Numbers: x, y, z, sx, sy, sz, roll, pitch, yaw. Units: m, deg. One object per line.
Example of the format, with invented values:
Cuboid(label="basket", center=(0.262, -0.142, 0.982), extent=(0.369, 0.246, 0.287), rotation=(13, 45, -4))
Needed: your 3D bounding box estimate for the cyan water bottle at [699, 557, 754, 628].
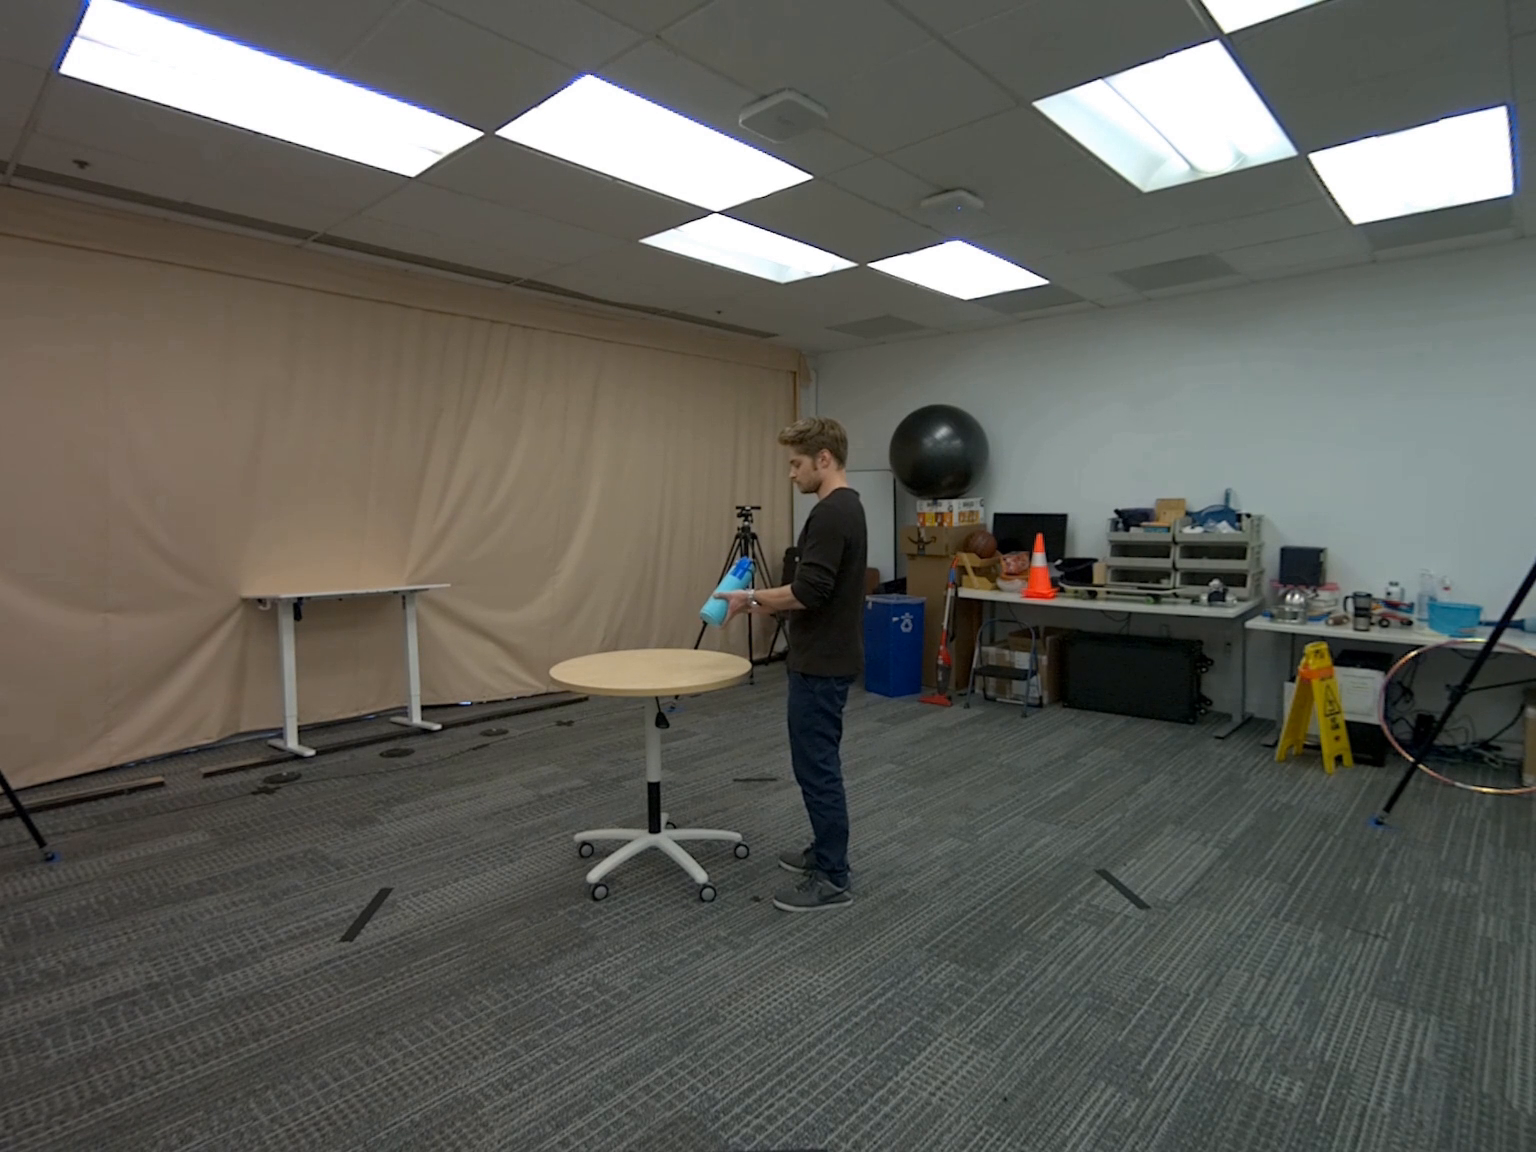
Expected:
Cuboid(label="cyan water bottle", center=(-0.126, 0.049, 3.050), extent=(0.093, 0.283, 0.091), rotation=(32, -18, 10))
